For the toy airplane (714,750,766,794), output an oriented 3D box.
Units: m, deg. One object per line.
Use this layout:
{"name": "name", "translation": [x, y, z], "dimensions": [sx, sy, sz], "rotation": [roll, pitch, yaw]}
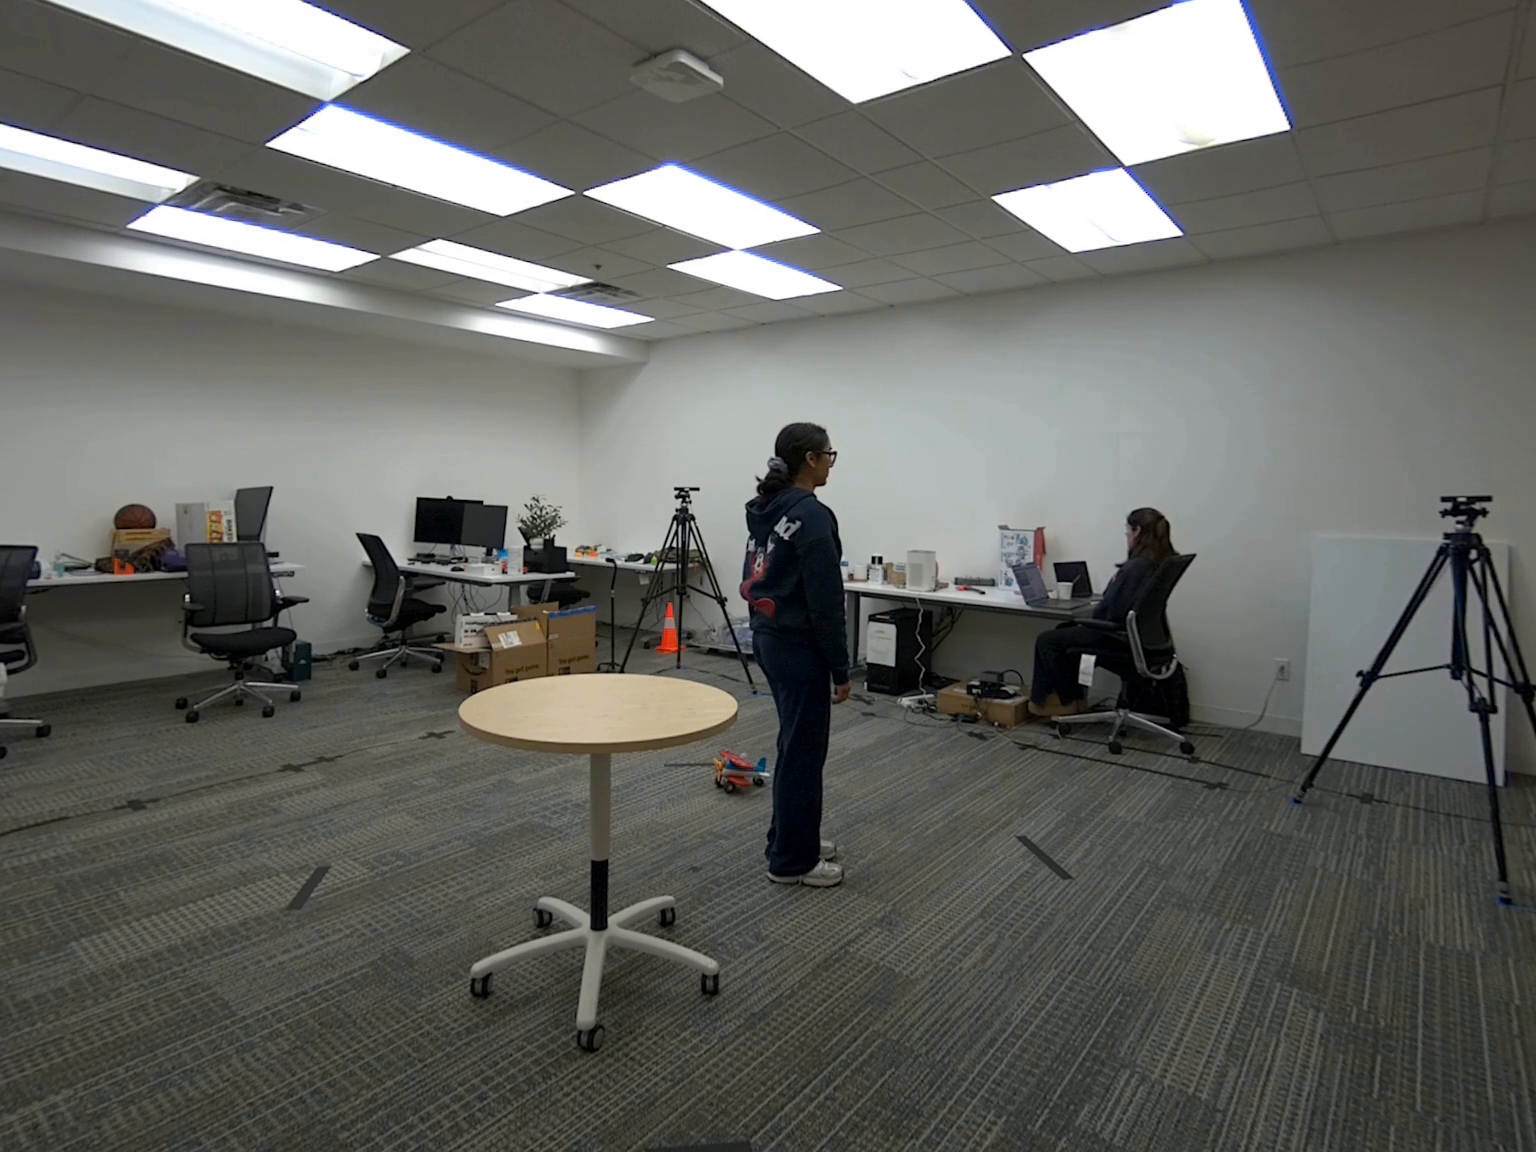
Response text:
{"name": "toy airplane", "translation": [-0.134, 0.909, 3.990], "dimensions": [0.259, 0.156, 0.252], "rotation": [3, 6, 36]}
